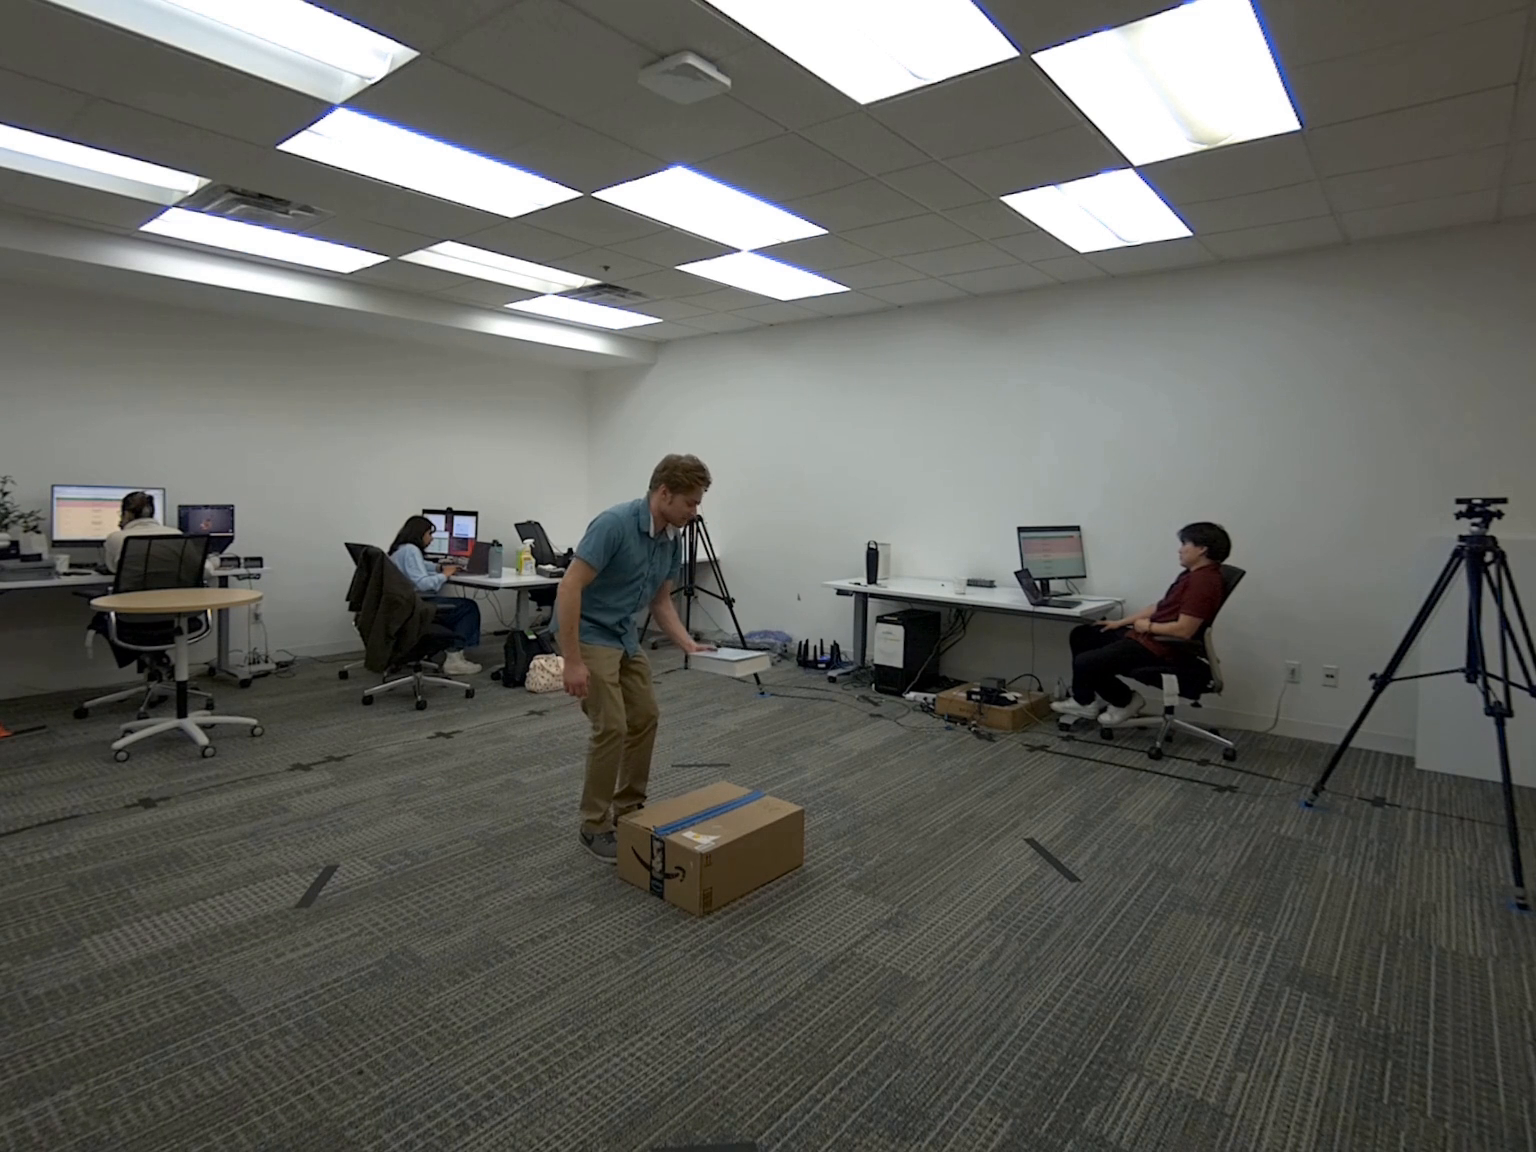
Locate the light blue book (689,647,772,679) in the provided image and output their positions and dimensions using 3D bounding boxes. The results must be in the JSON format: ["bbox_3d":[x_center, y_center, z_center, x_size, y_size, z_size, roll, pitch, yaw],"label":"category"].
[{"bbox_3d":[-0.162,0.327,3.244,0.186,0.059,0.269,-7,6,-43],"label":"light blue book"}]
